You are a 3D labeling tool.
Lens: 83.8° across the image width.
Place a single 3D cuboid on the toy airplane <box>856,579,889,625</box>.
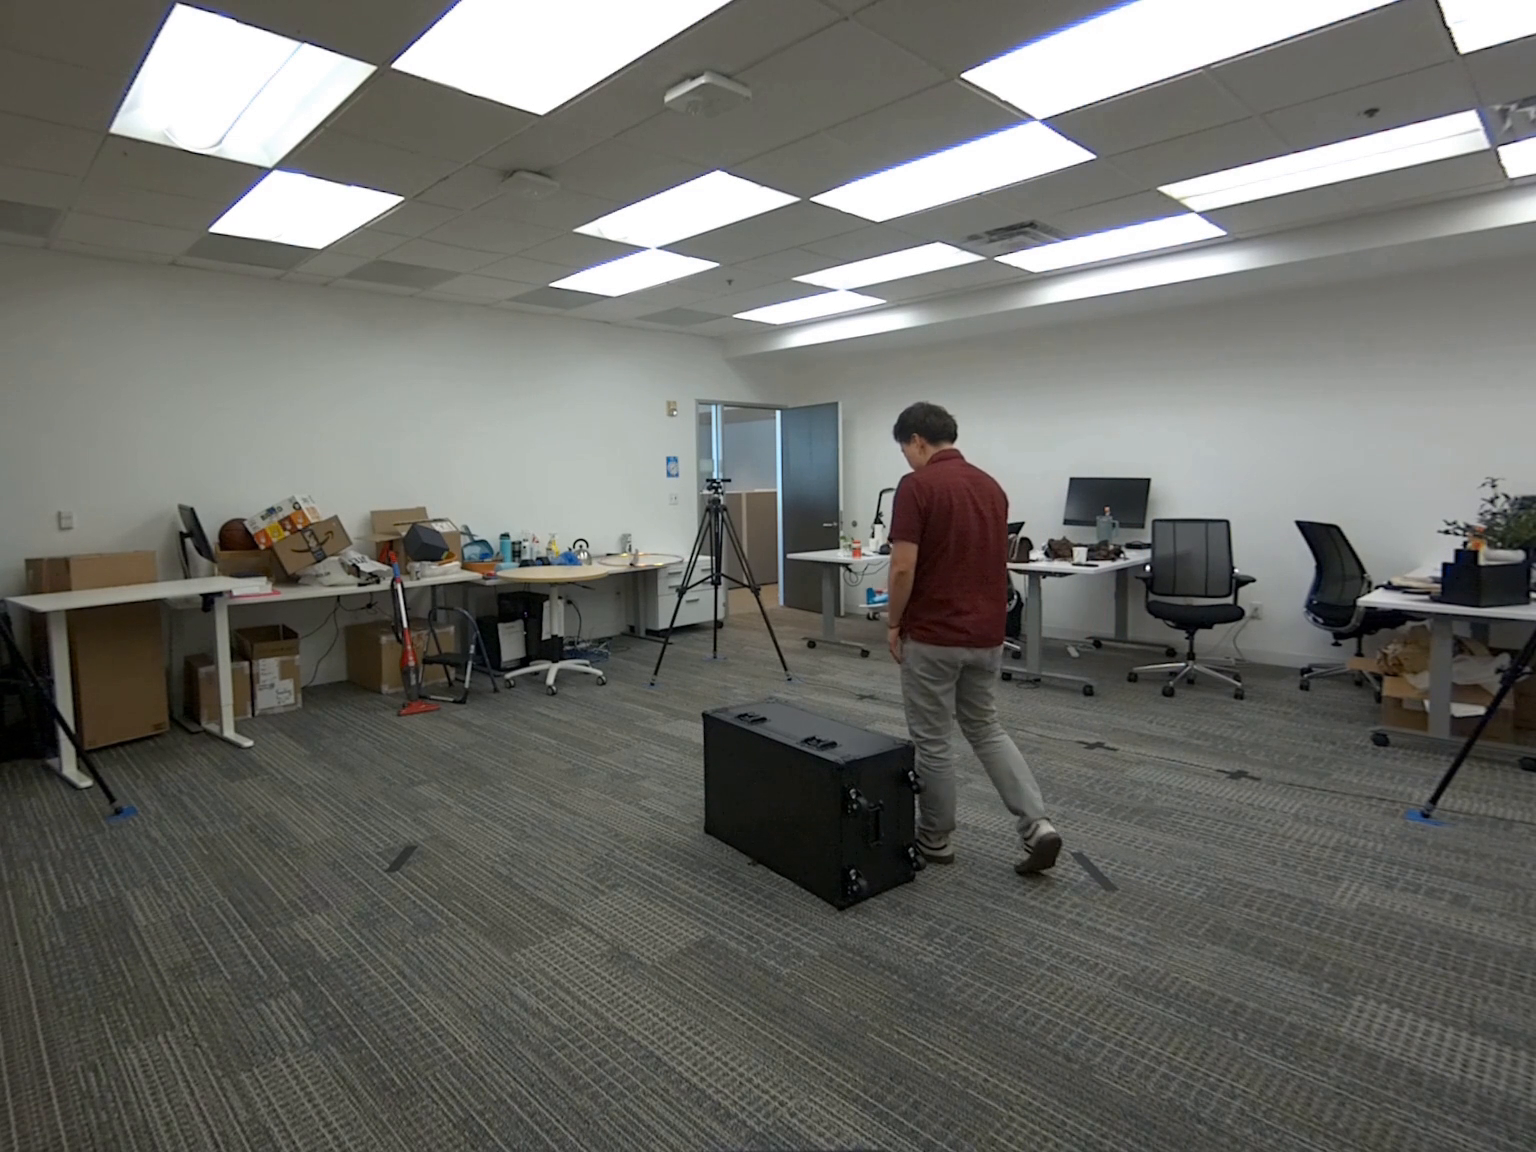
[{"bbox_3d":[0.526,0.110,3.418,0.258,0.157,0.251,1,-7,33],"label":"toy airplane"}]
